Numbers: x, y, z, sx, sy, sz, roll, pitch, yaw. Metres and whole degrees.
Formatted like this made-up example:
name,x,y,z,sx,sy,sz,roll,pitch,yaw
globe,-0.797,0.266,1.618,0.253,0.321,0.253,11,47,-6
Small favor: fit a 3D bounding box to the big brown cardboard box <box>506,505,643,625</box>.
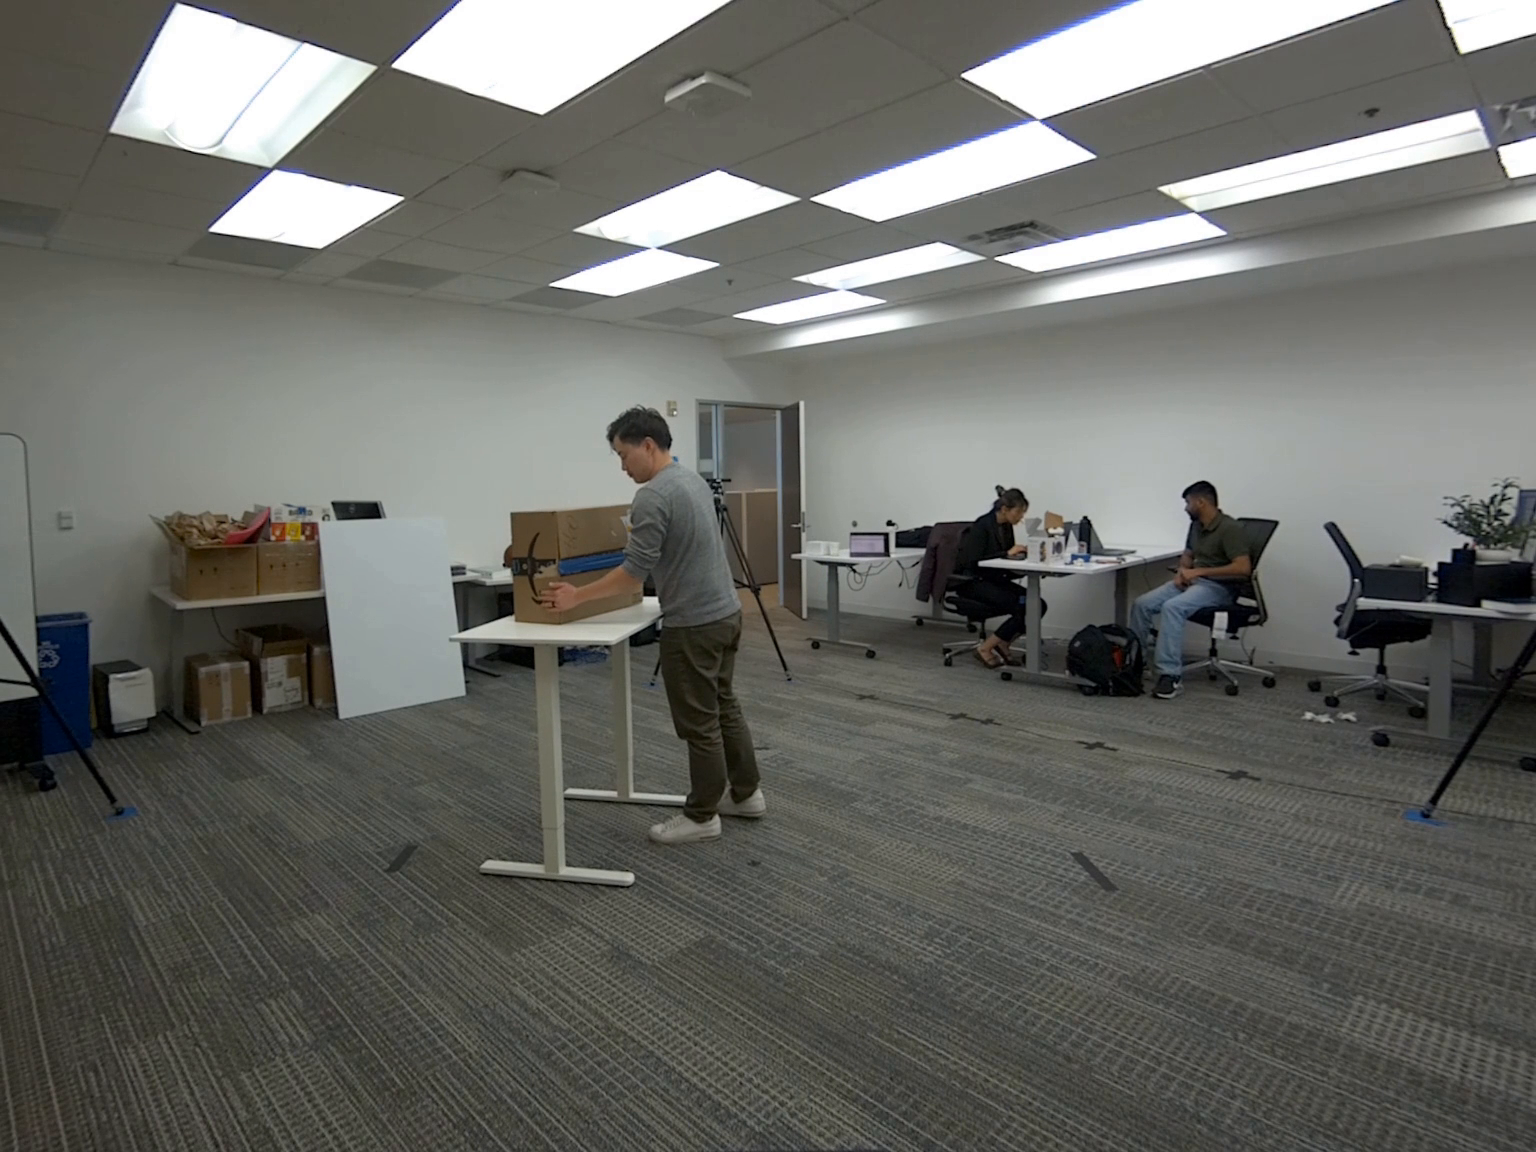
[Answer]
name,x,y,z,sx,sy,sz,roll,pitch,yaw
big brown cardboard box,-0.742,-0.064,3.401,0.239,0.416,0.578,0,6,26
